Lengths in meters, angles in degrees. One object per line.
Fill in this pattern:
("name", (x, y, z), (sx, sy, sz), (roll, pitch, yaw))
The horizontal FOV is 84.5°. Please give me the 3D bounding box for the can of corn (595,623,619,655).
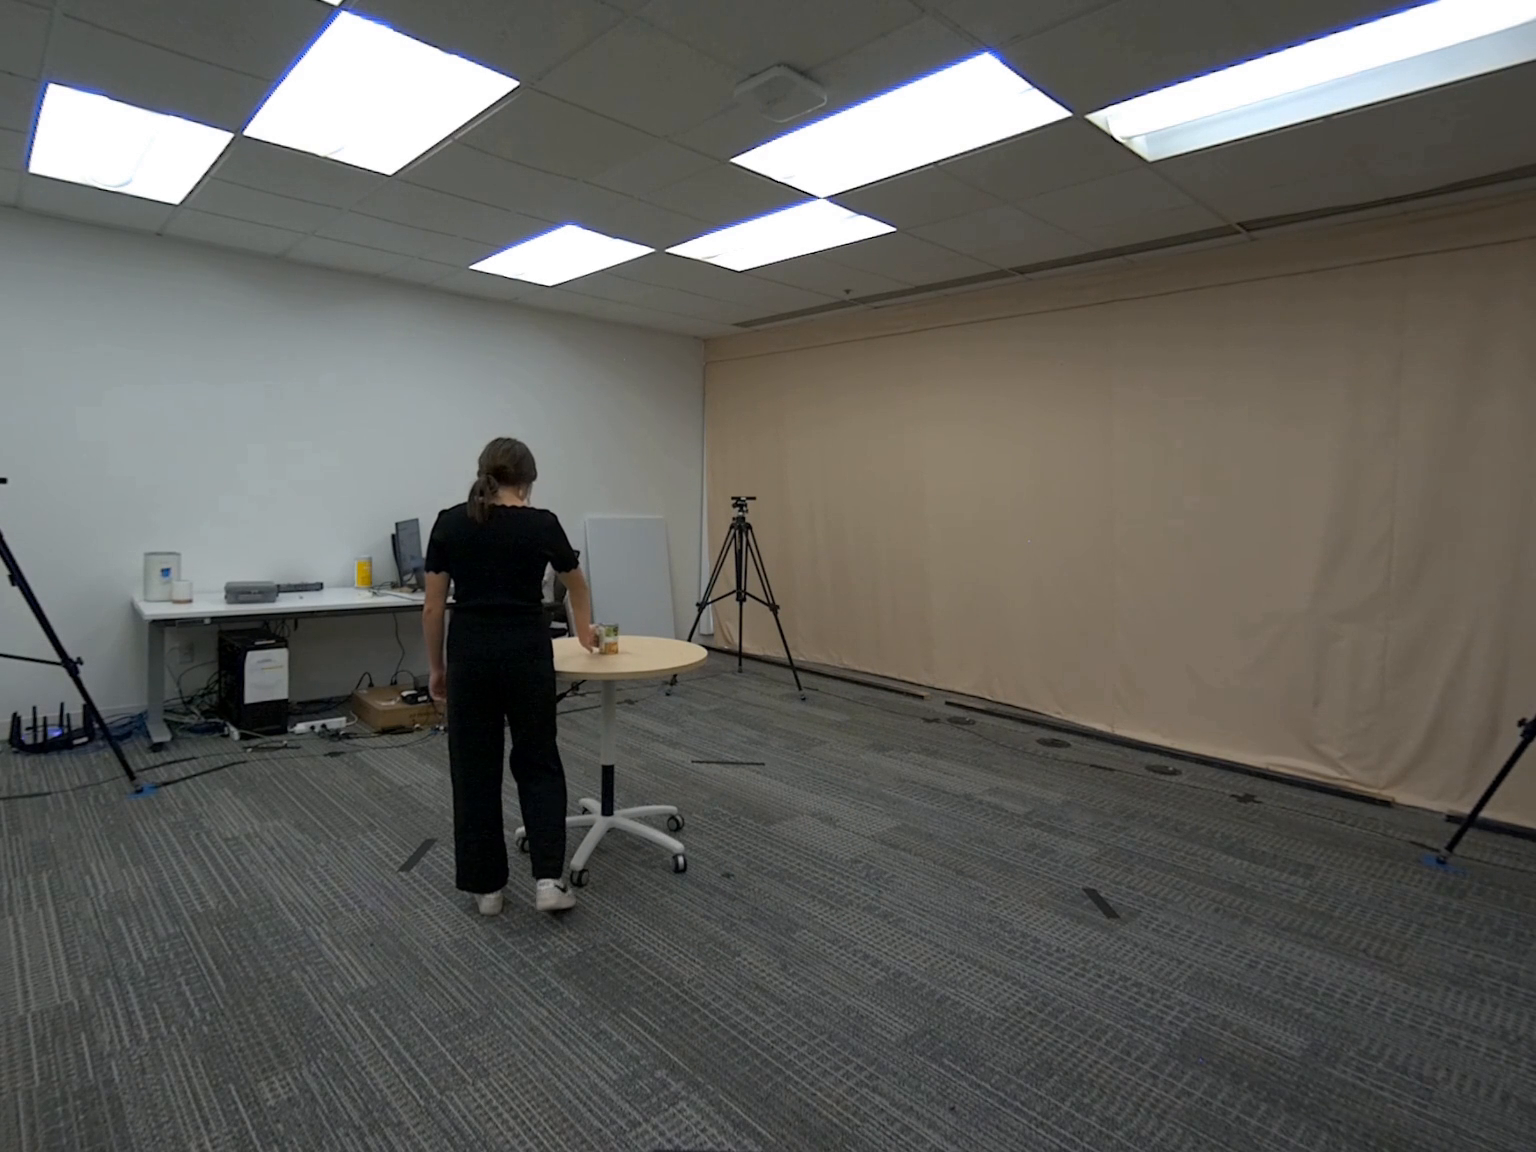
("can of corn", (-0.630, 0.243, 3.246), (0.074, 0.111, 0.074), (0, 2, -1))
